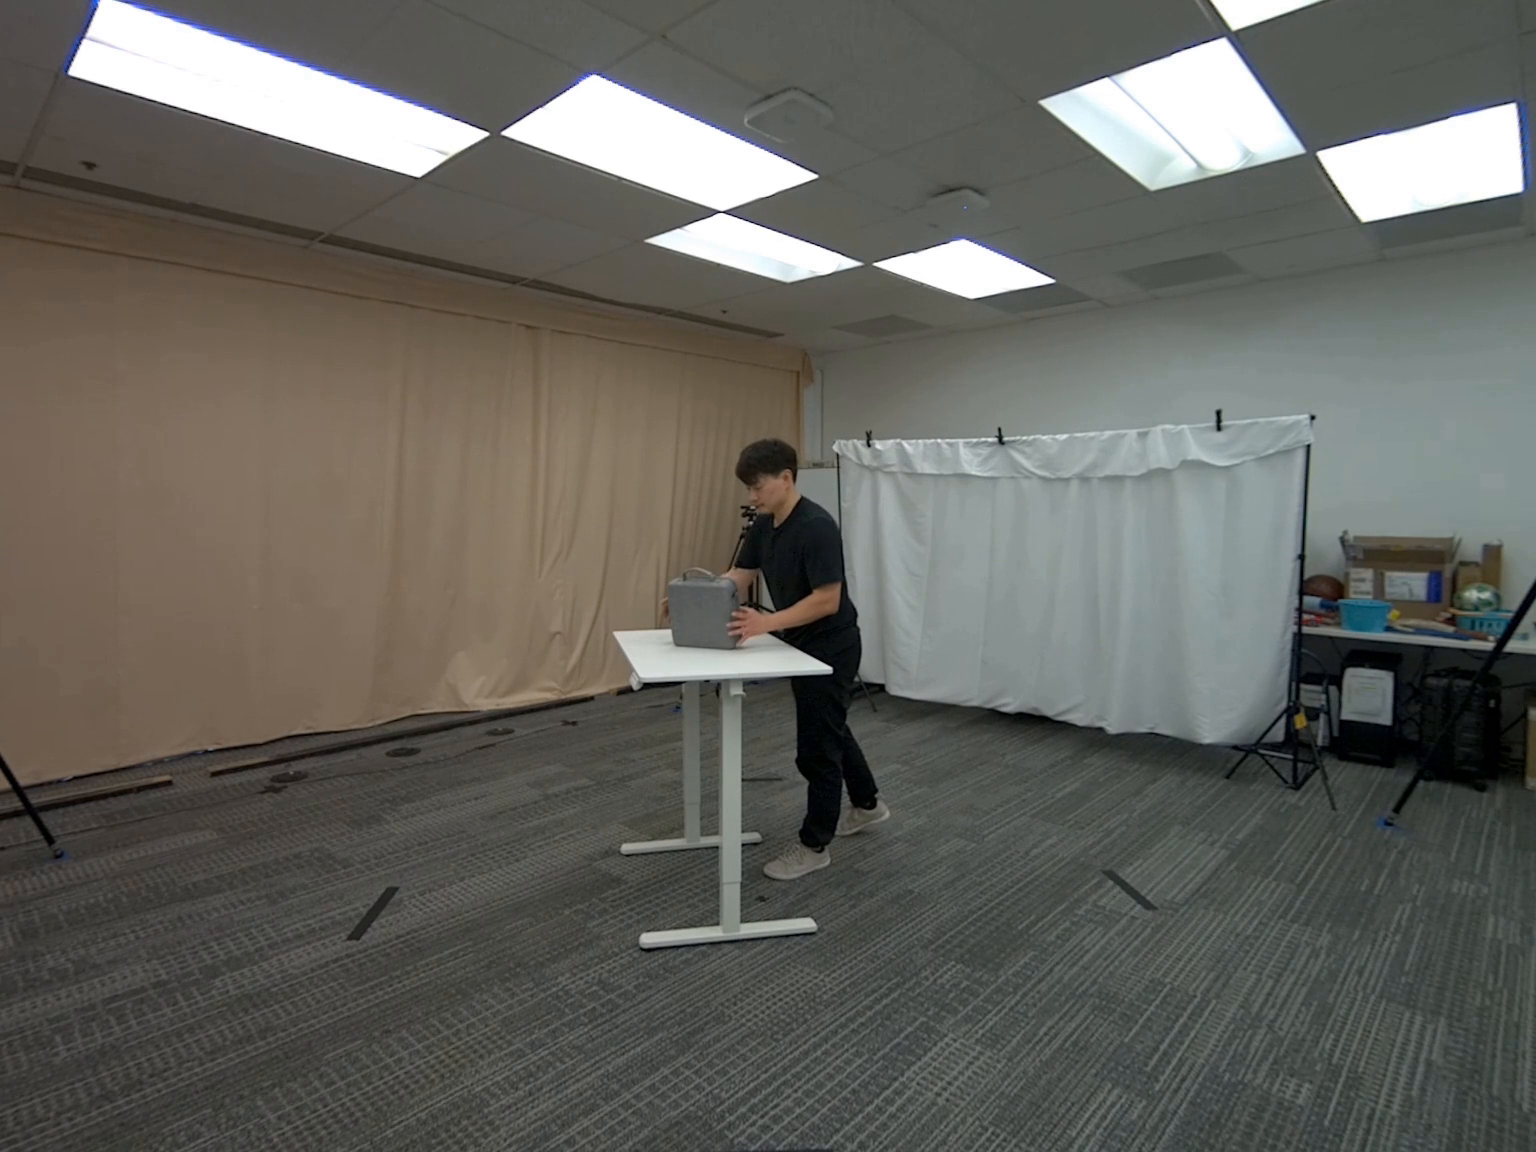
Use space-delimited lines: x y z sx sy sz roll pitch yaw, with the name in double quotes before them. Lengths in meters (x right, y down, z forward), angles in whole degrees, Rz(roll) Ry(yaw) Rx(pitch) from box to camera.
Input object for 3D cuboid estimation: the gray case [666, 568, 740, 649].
"gray case" -0.223 0.130 3.039 0.263 0.258 0.103 0 14 23
